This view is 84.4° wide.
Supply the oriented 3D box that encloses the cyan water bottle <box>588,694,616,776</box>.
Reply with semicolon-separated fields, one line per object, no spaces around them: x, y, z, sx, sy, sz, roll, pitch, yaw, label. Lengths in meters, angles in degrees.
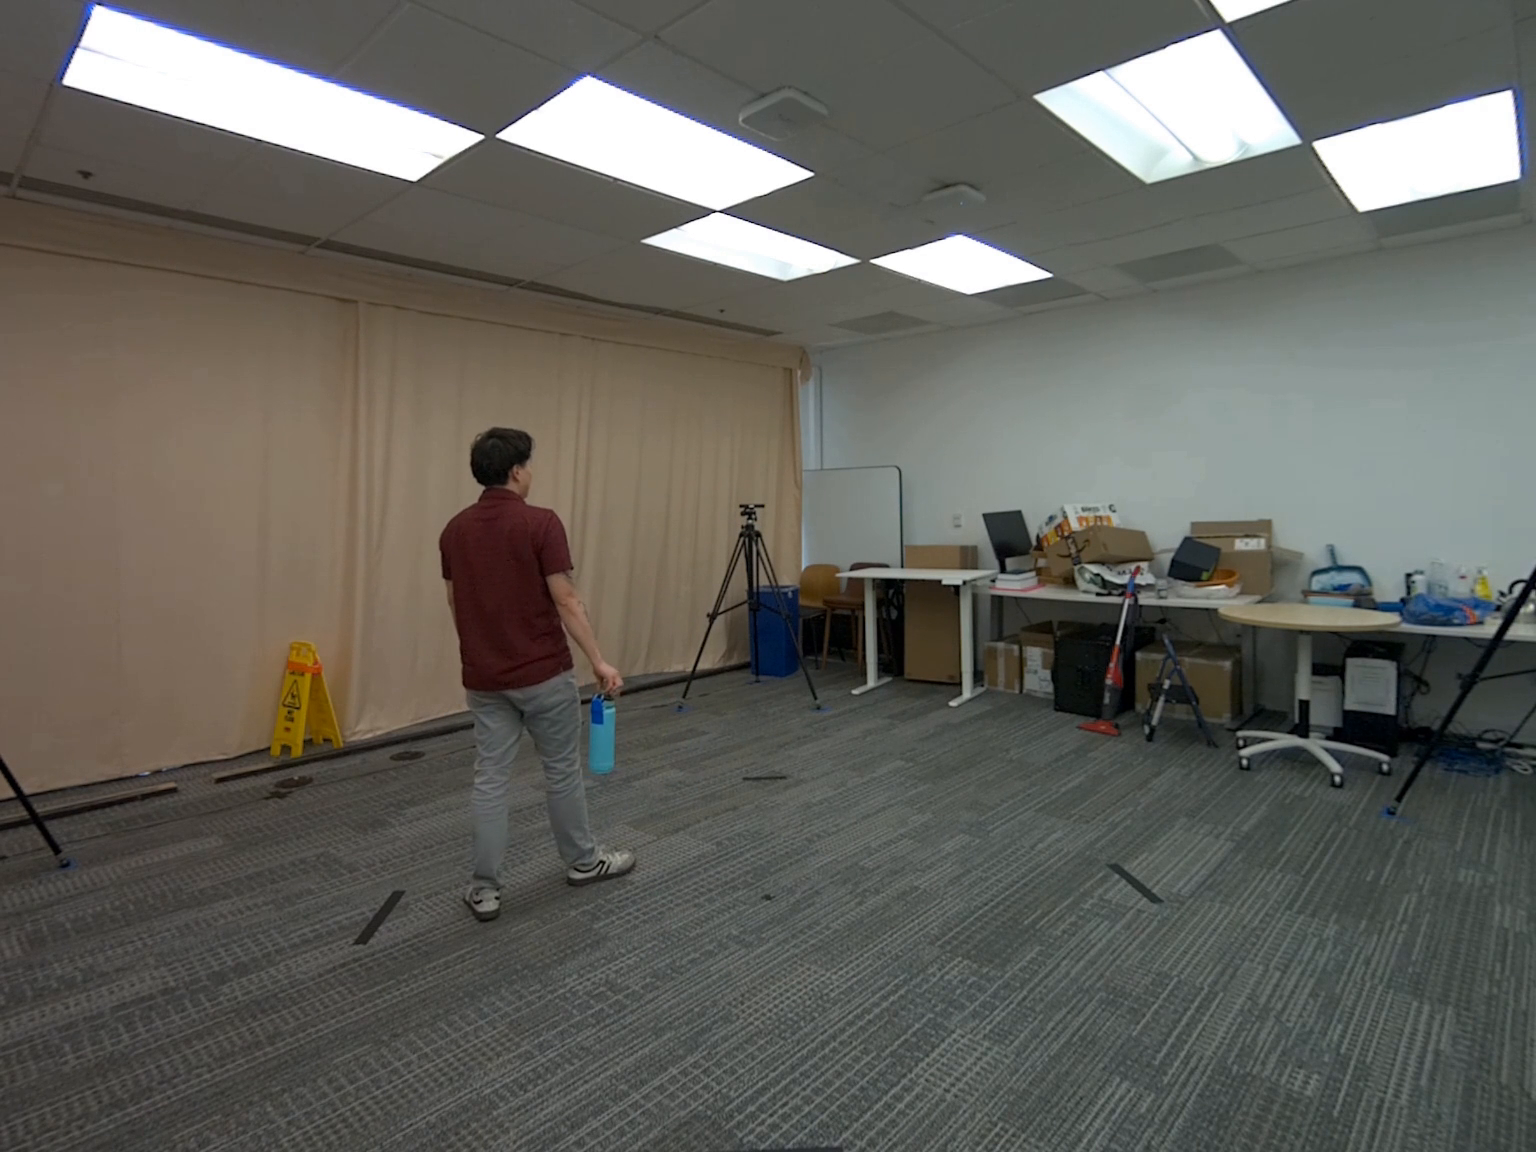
-0.584;0.544;2.942;0.092;0.282;0.093;4;6;-2;cyan water bottle
